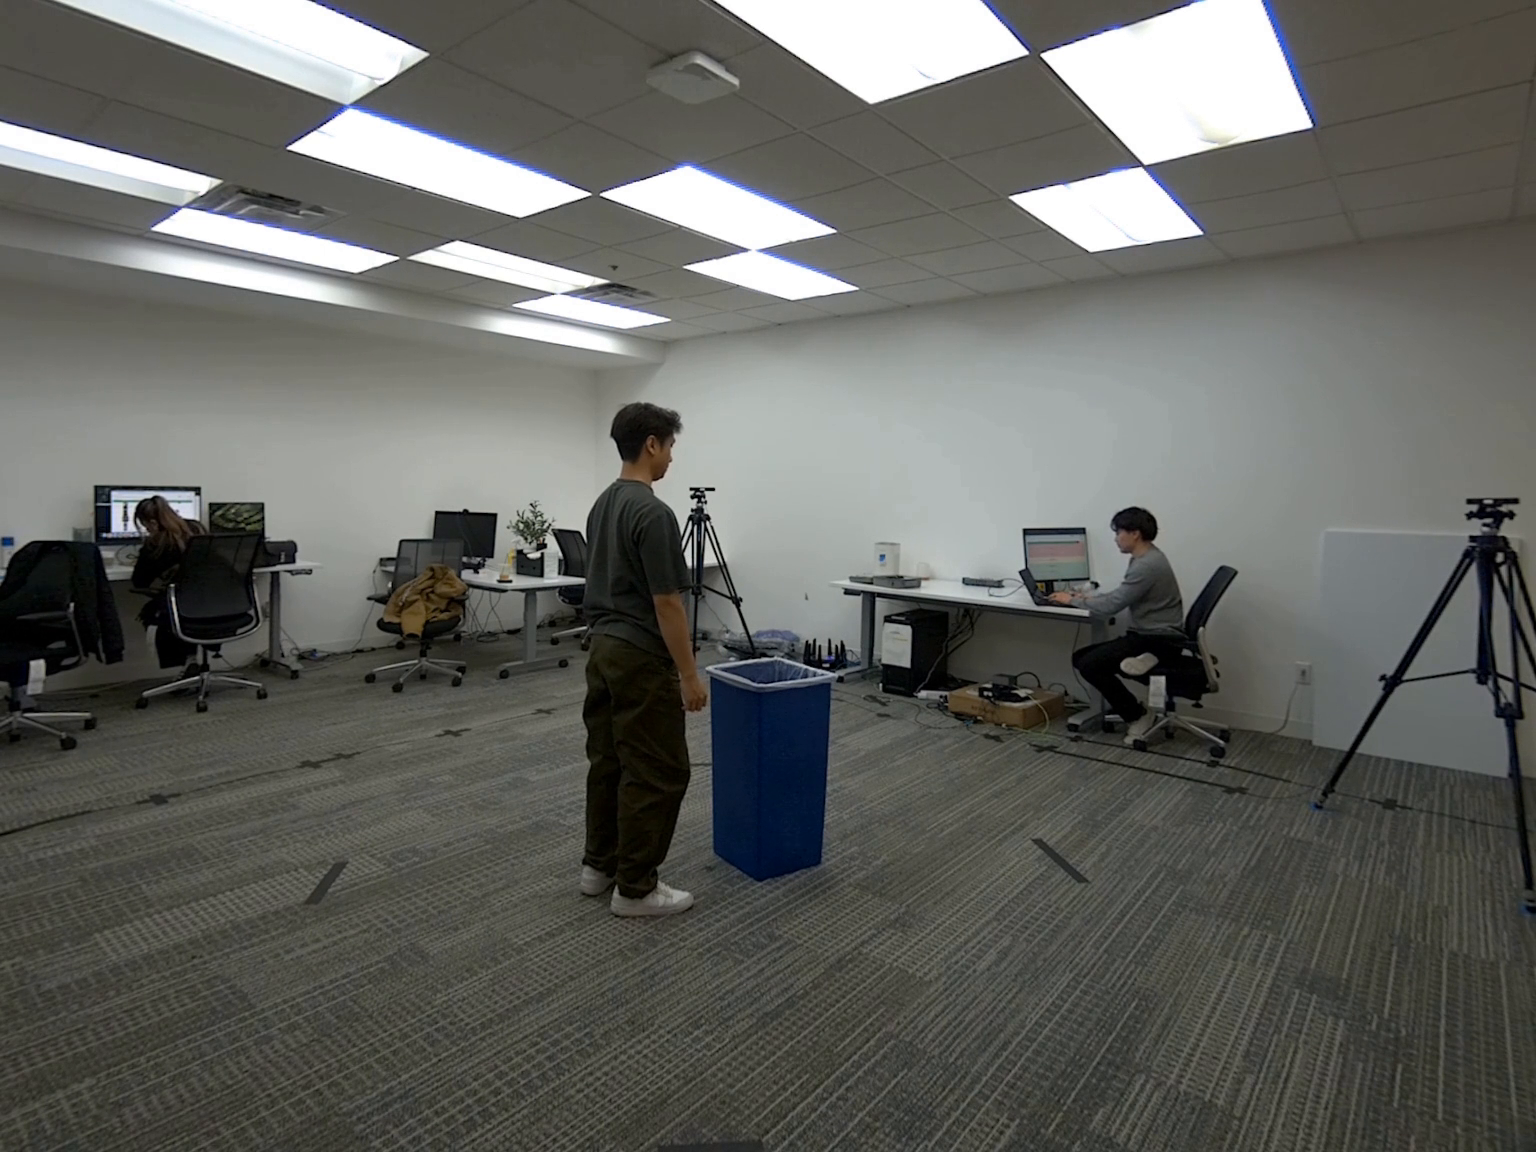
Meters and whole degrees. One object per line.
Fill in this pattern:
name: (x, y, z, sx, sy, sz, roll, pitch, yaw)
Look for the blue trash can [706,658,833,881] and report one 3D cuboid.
blue trash can: (-0.014, 0.703, 3.200, 0.367, 0.711, 0.386, -1, 5, -36)
